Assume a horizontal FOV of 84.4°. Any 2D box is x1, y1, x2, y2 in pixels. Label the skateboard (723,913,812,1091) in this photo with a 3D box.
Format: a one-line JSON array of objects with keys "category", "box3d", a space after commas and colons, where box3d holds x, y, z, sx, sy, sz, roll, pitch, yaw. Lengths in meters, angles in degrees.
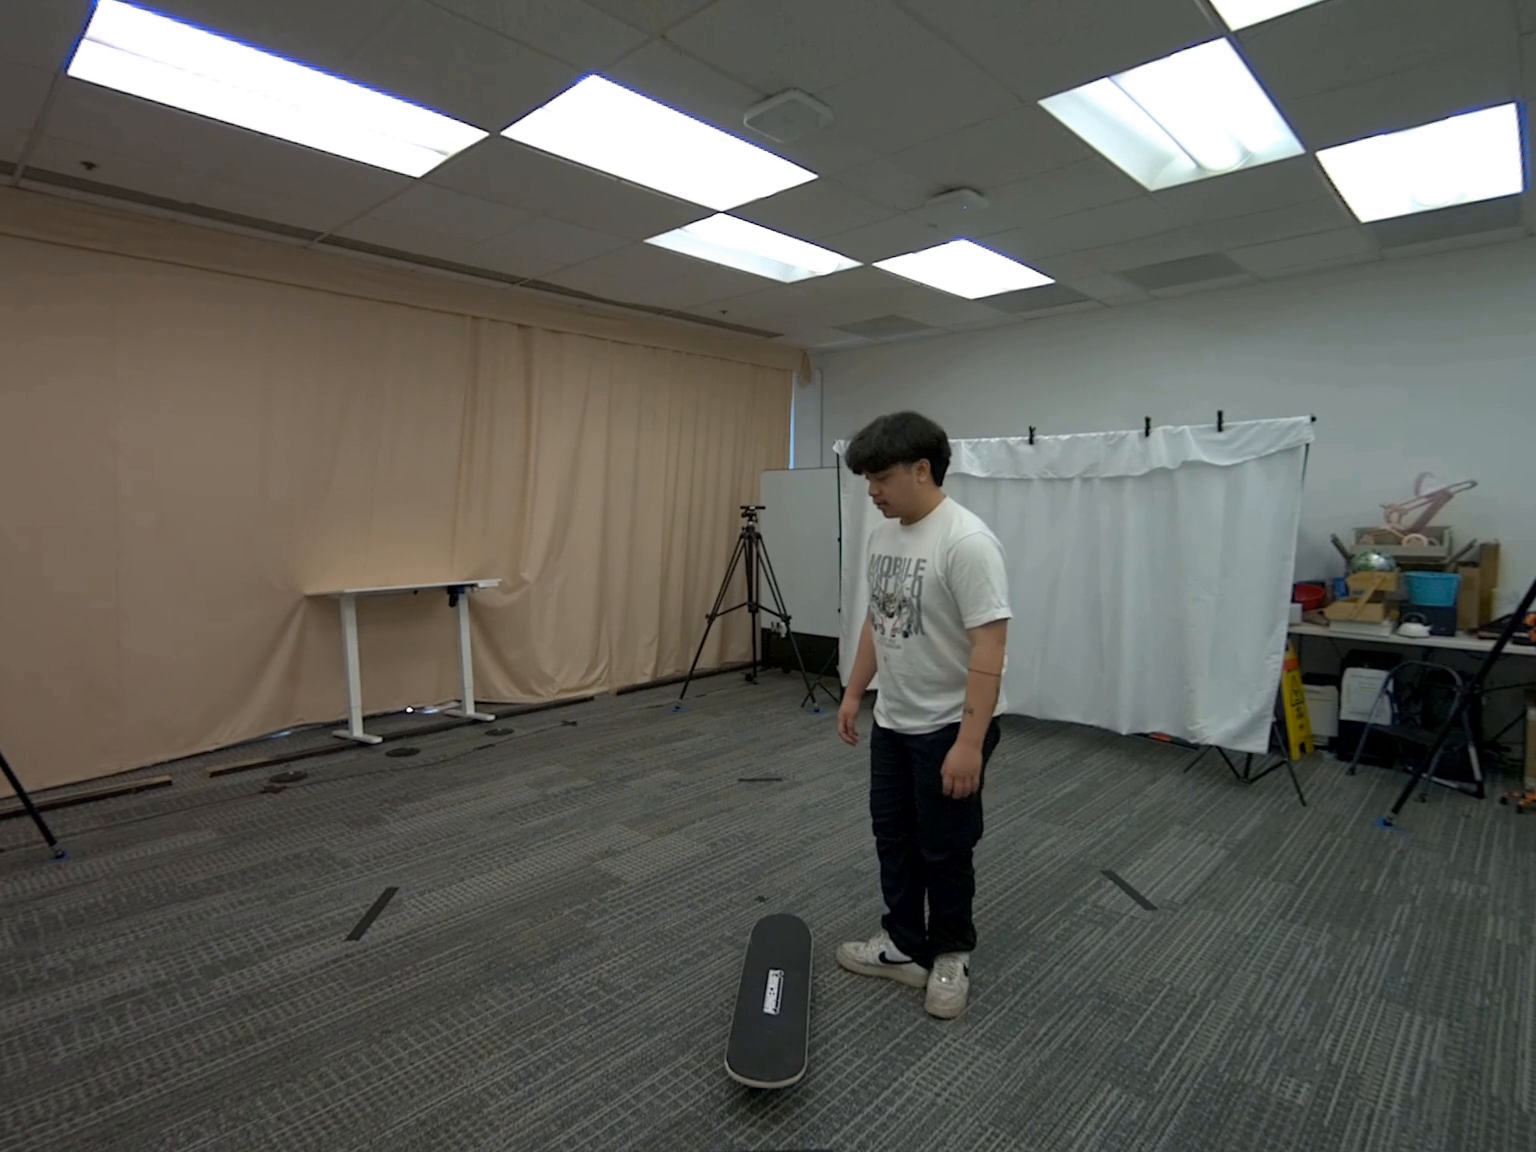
[{"category": "skateboard", "box3d": [0.027, 1.147, 2.266, 0.195, 0.110, 0.780, 1, 5, 6]}]
